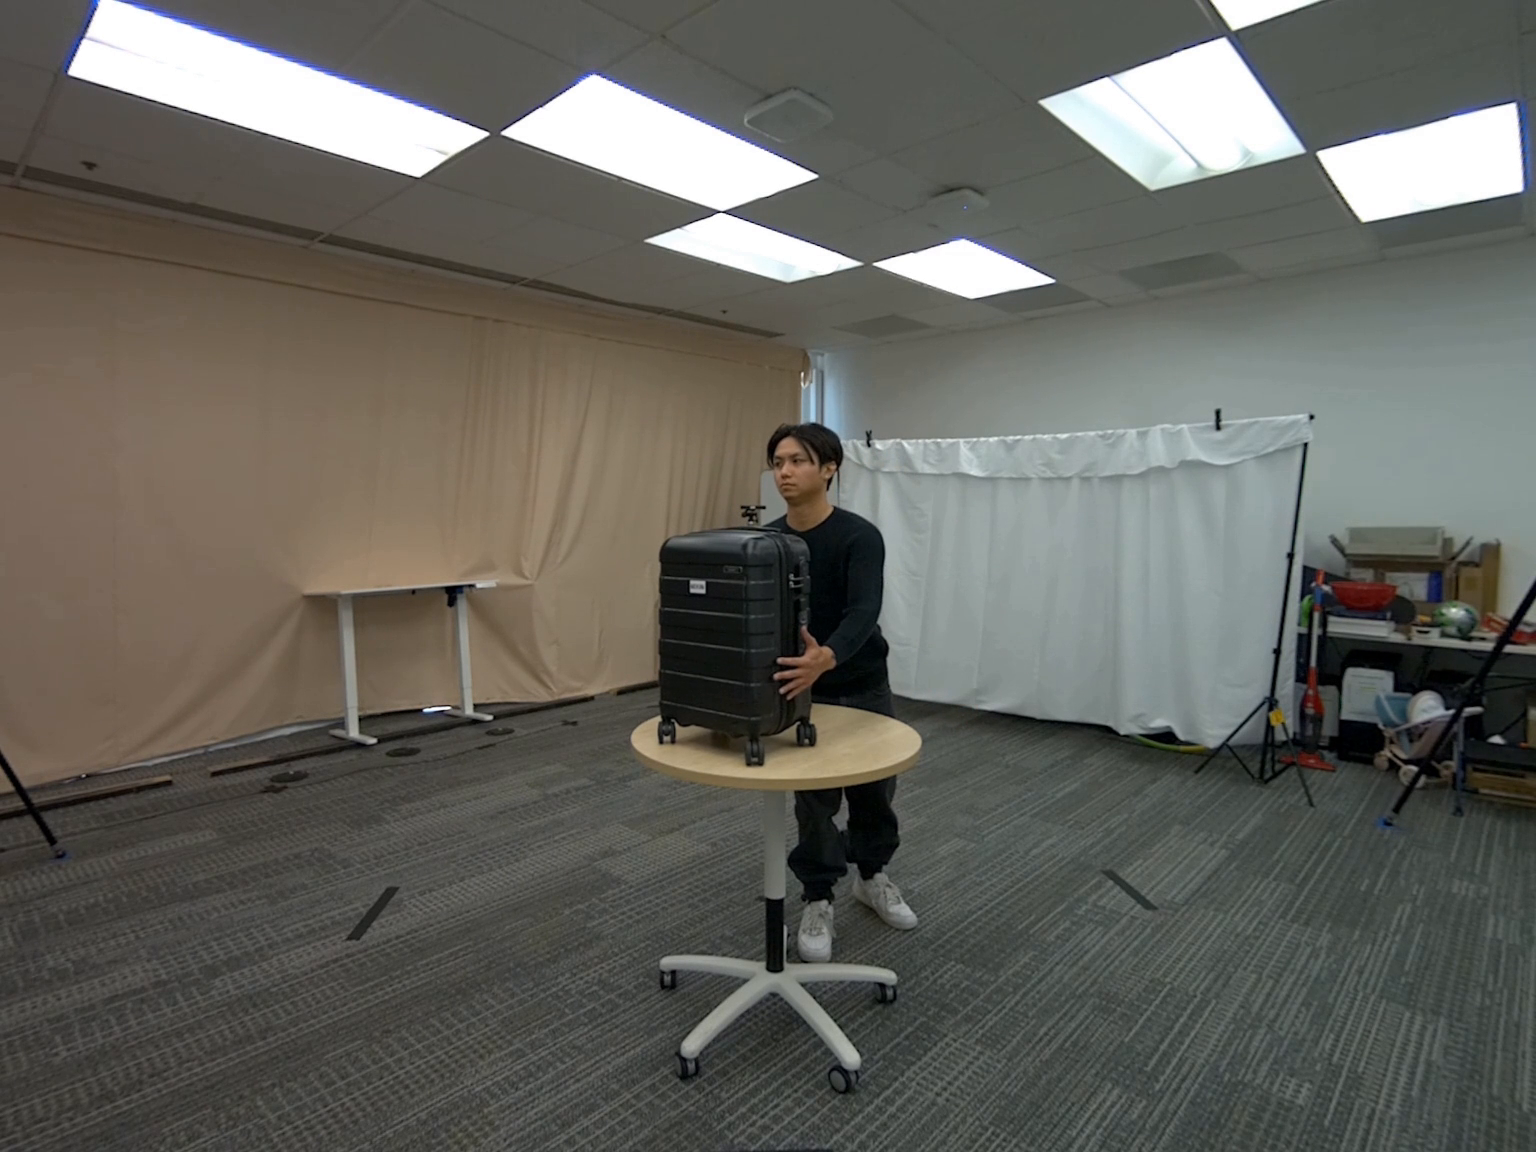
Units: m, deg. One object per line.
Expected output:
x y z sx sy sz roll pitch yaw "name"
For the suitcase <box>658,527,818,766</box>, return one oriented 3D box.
-0.084 0.153 2.152 0.388 0.548 0.241 2 3 41 "suitcase"
